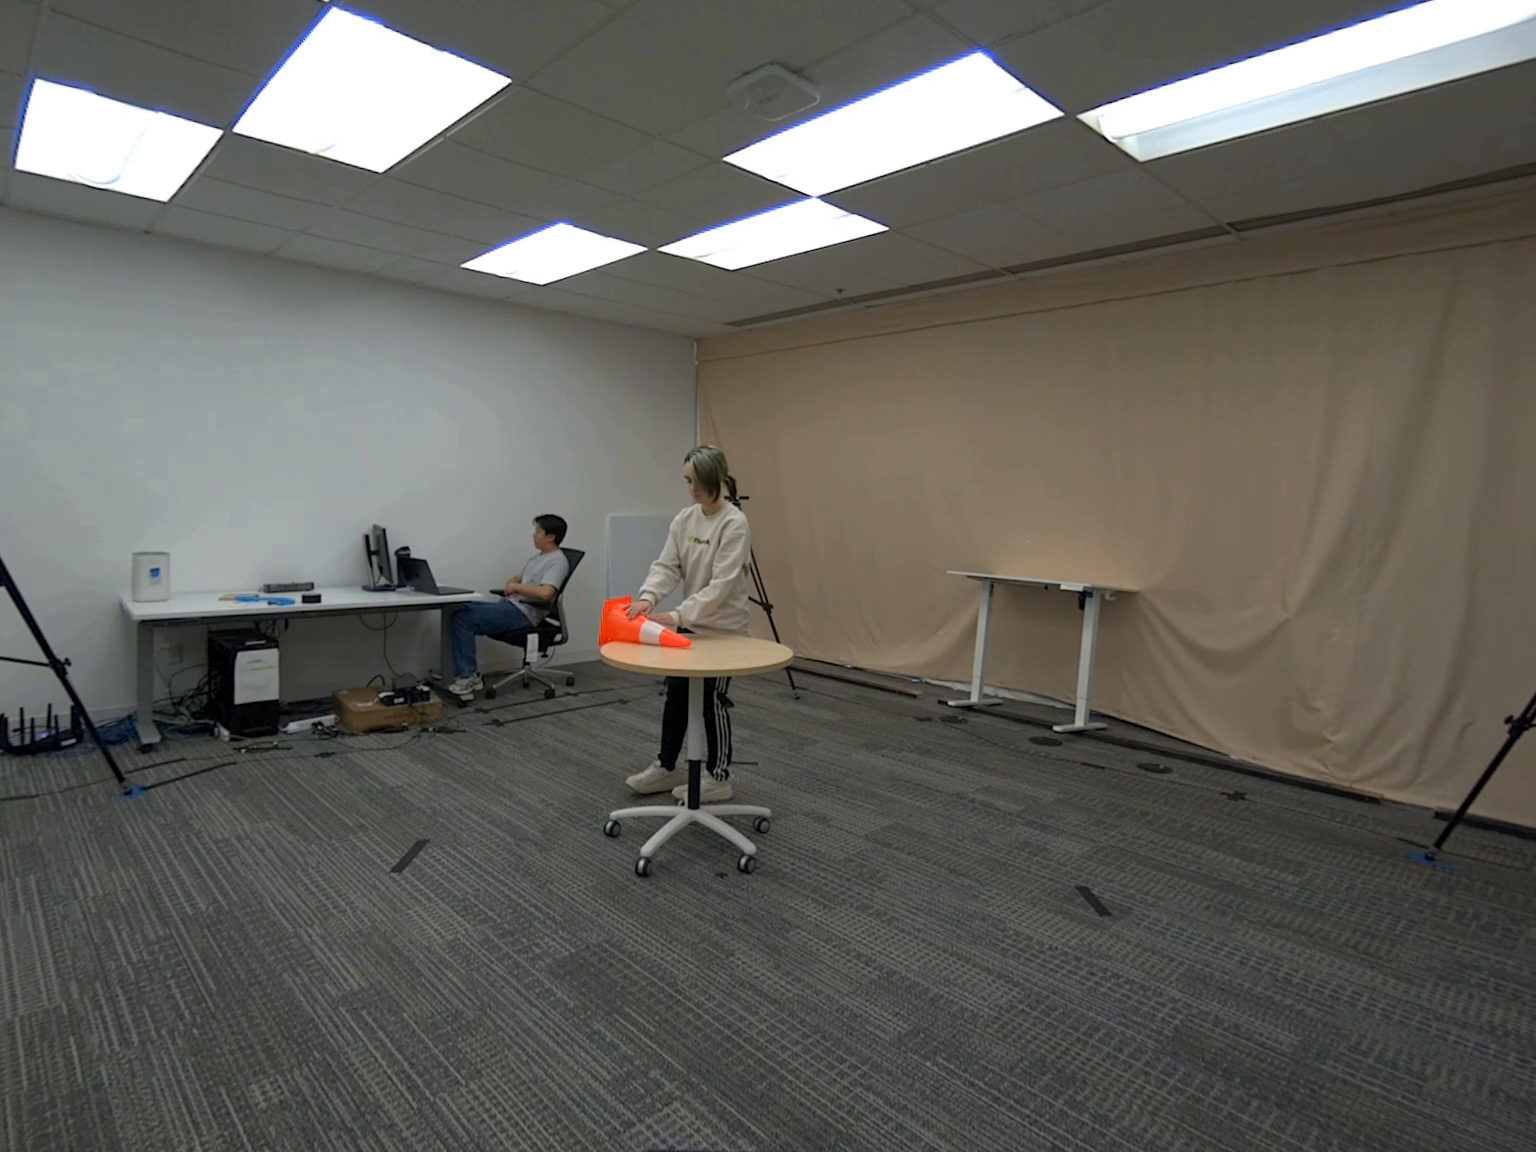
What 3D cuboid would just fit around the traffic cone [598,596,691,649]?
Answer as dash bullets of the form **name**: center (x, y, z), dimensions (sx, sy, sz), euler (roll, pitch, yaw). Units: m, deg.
- **traffic cone**: center (-0.490, 0.232, 3.454), dimensions (0.393, 0.202, 0.201), euler (14, 11, 29)
